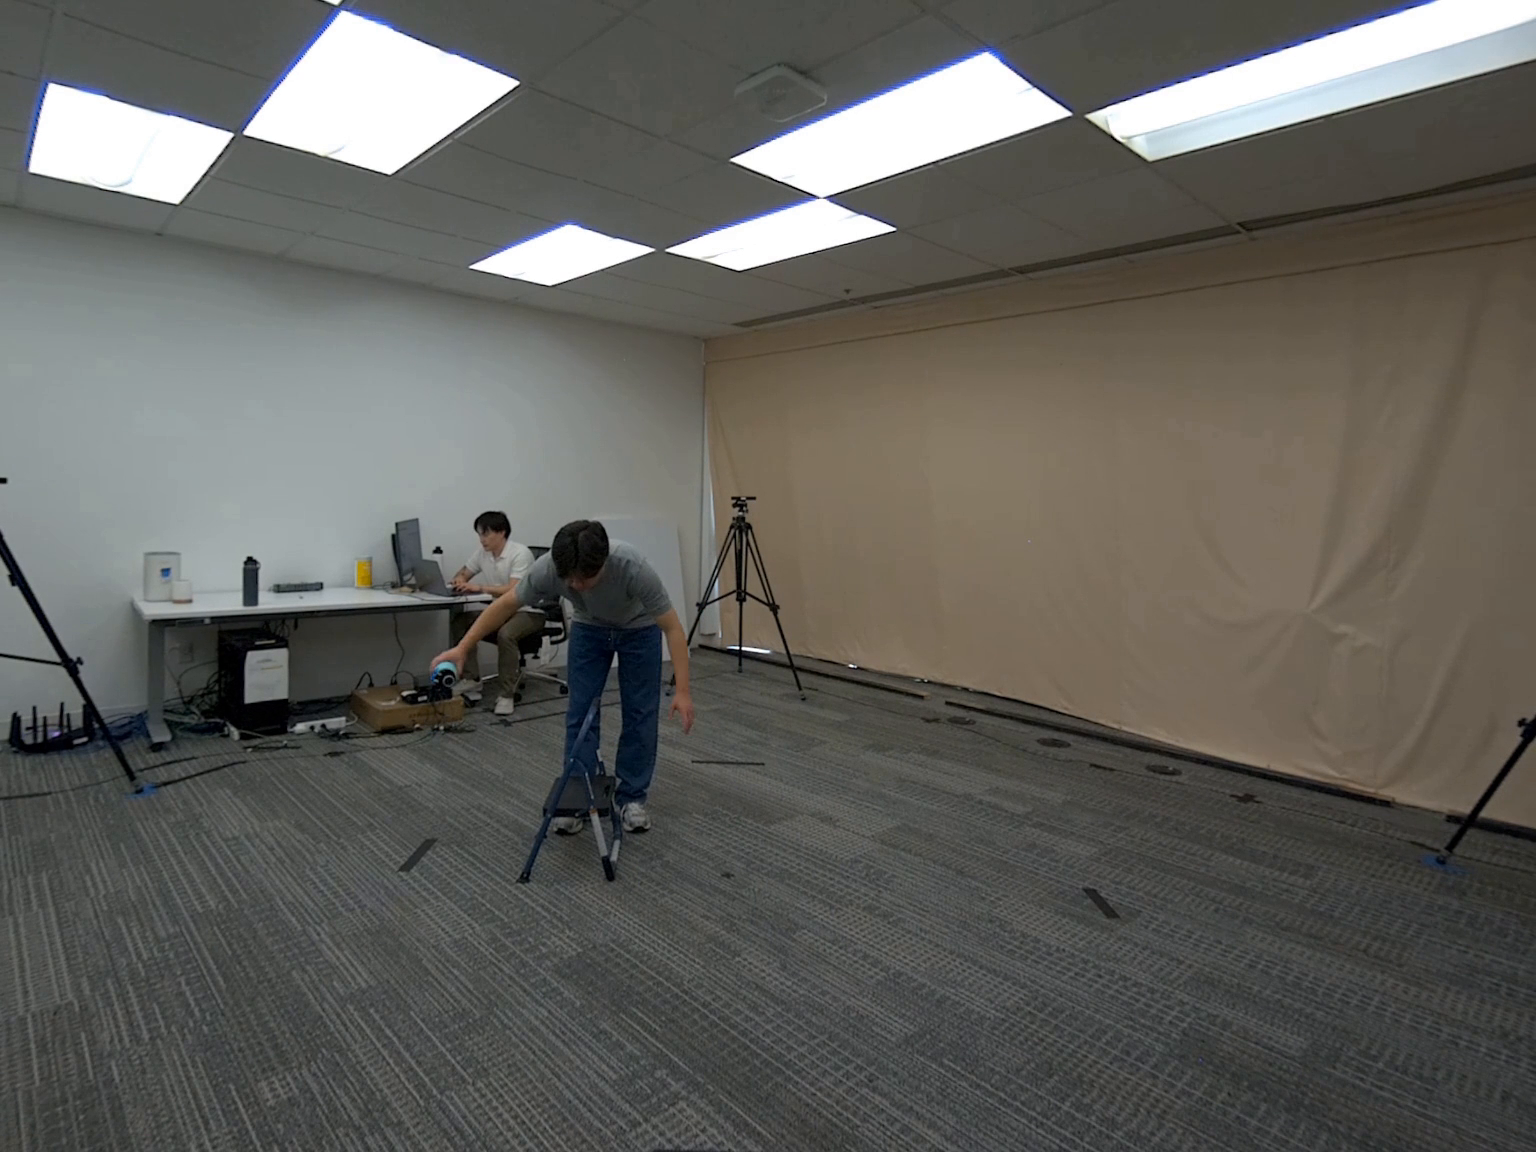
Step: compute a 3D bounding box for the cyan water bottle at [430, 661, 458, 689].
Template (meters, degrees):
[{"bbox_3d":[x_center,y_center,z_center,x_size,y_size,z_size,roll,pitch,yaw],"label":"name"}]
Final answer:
[{"bbox_3d":[-1.245,0.408,3.269,0.091,0.092,0.287,0,5,-15],"label":"cyan water bottle"}]
